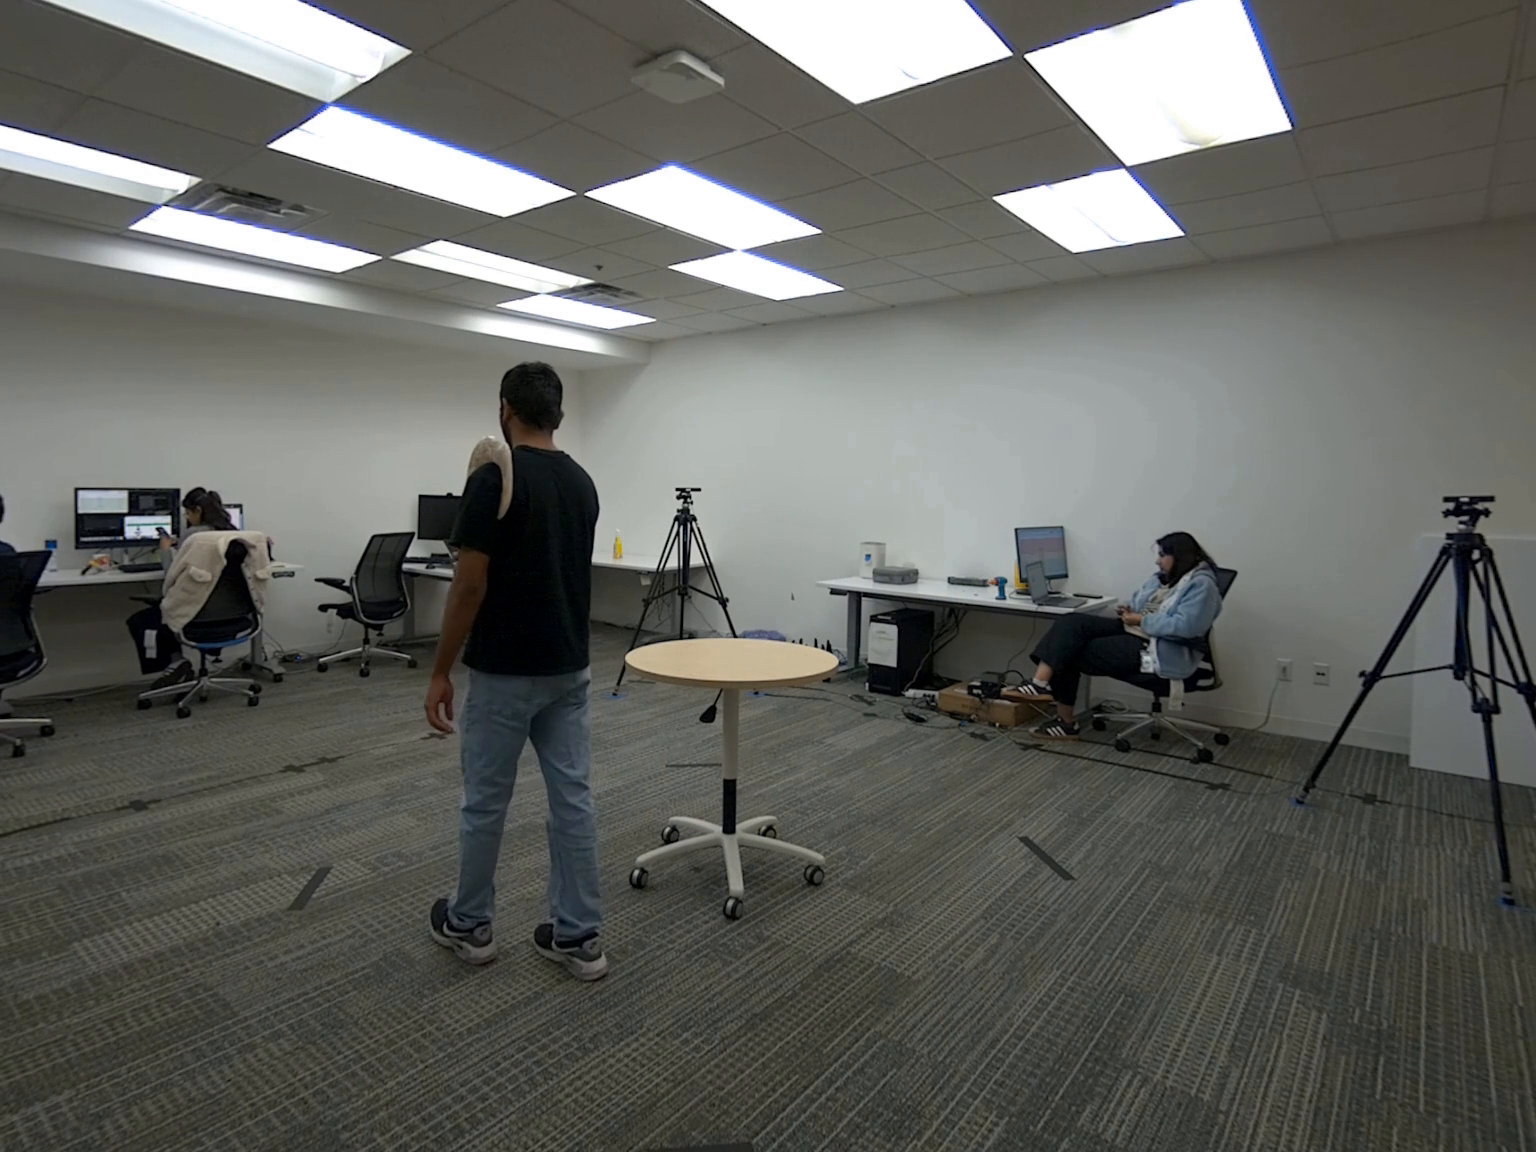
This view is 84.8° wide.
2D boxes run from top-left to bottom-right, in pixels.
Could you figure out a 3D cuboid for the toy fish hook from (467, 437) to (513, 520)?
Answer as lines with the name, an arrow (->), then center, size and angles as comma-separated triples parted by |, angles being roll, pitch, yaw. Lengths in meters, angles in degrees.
toy fish hook -> -0.794, -0.132, 2.326 | 0.047, 0.502, 0.234 | 3, 17, -44
